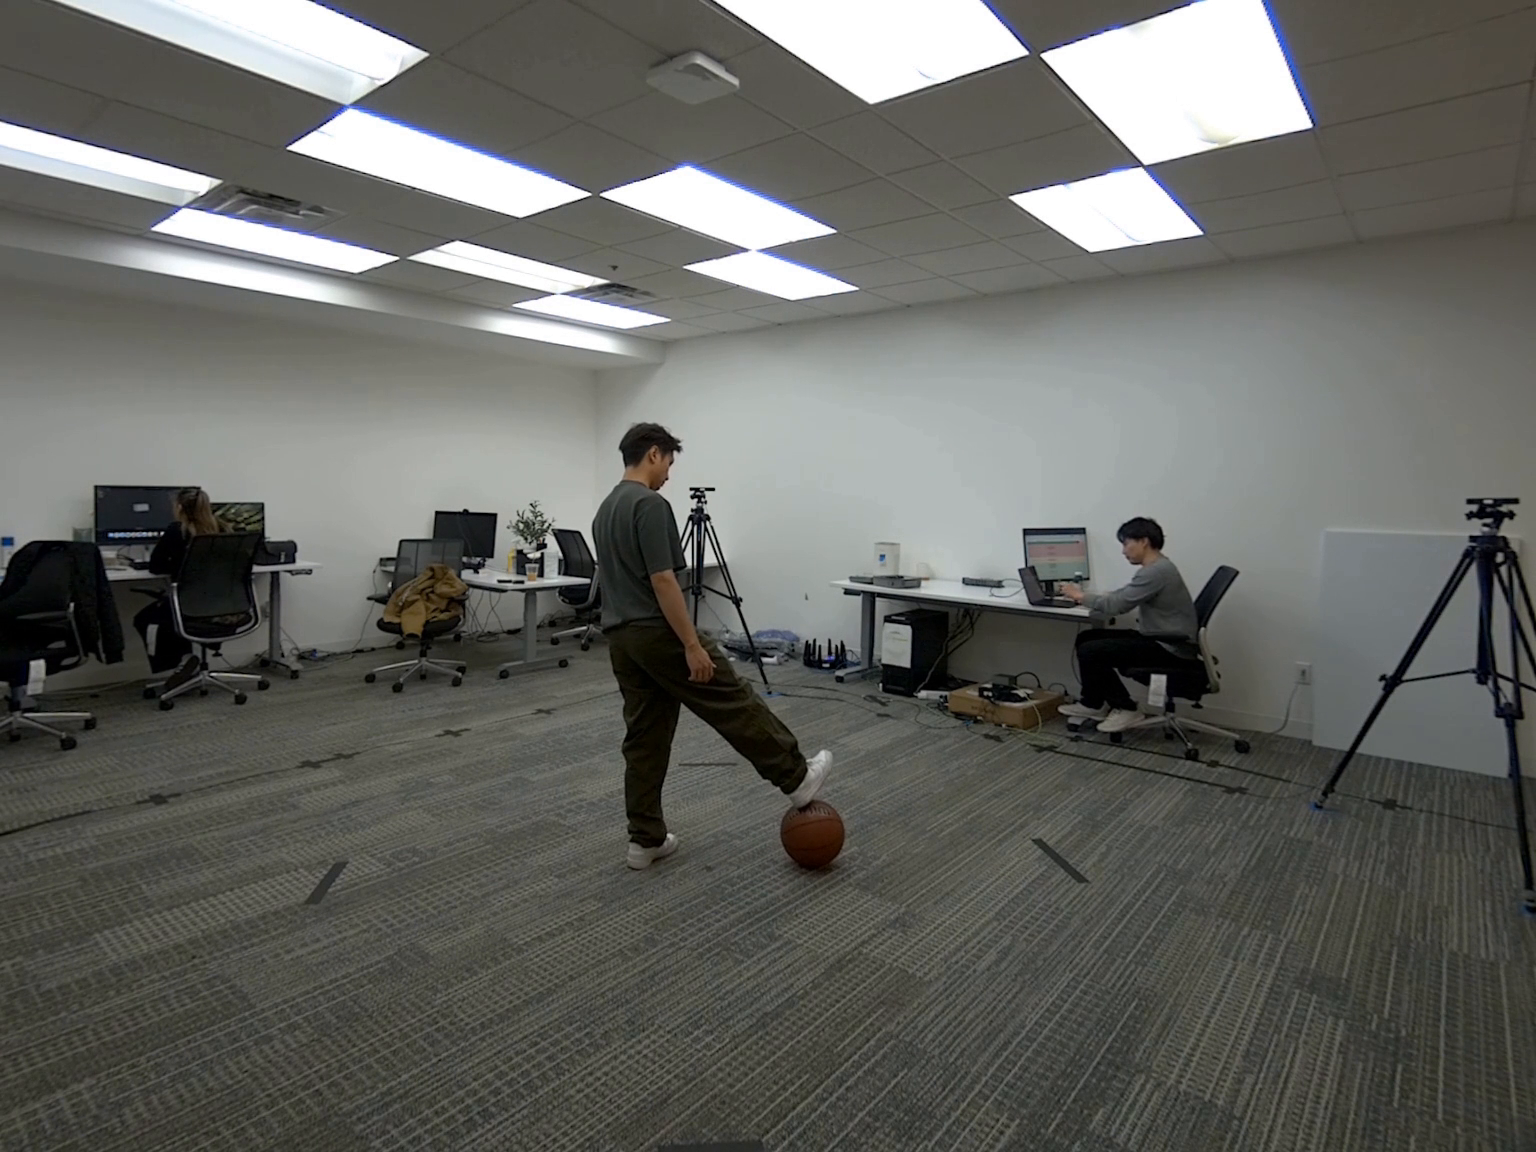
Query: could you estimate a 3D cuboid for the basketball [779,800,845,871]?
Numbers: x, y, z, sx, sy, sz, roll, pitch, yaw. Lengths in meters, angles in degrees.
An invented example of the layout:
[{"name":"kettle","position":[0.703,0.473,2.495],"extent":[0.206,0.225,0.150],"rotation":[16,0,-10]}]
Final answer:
[{"name":"basketball","position":[0.156,0.951,3.165],"extent":[0.235,0.235,0.237],"rotation":[1,4,-2]}]
